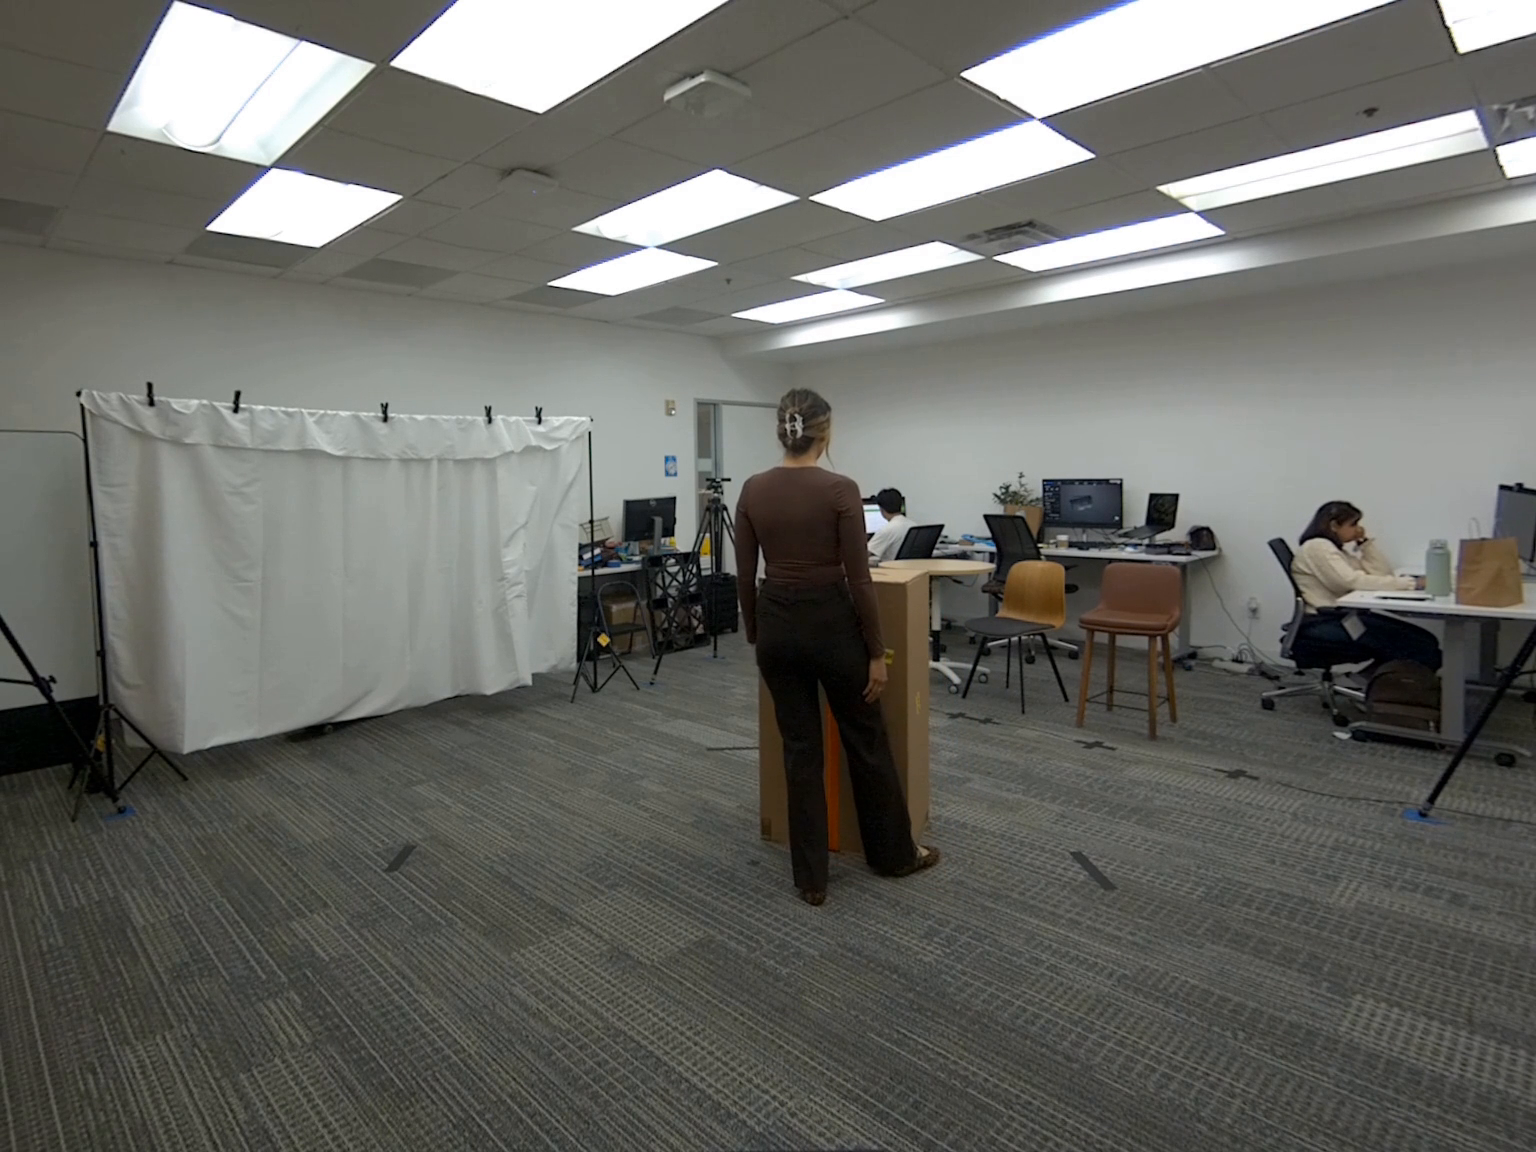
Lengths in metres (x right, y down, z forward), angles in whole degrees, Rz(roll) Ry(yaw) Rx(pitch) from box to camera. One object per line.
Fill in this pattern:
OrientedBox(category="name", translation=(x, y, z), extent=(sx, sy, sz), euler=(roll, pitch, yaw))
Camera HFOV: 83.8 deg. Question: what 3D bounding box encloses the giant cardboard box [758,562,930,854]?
OrientedBox(category="giant cardboard box", translation=(0.304, 0.496, 3.353), extent=(0.597, 1.023, 0.439), euler=(1, 5, 23))
